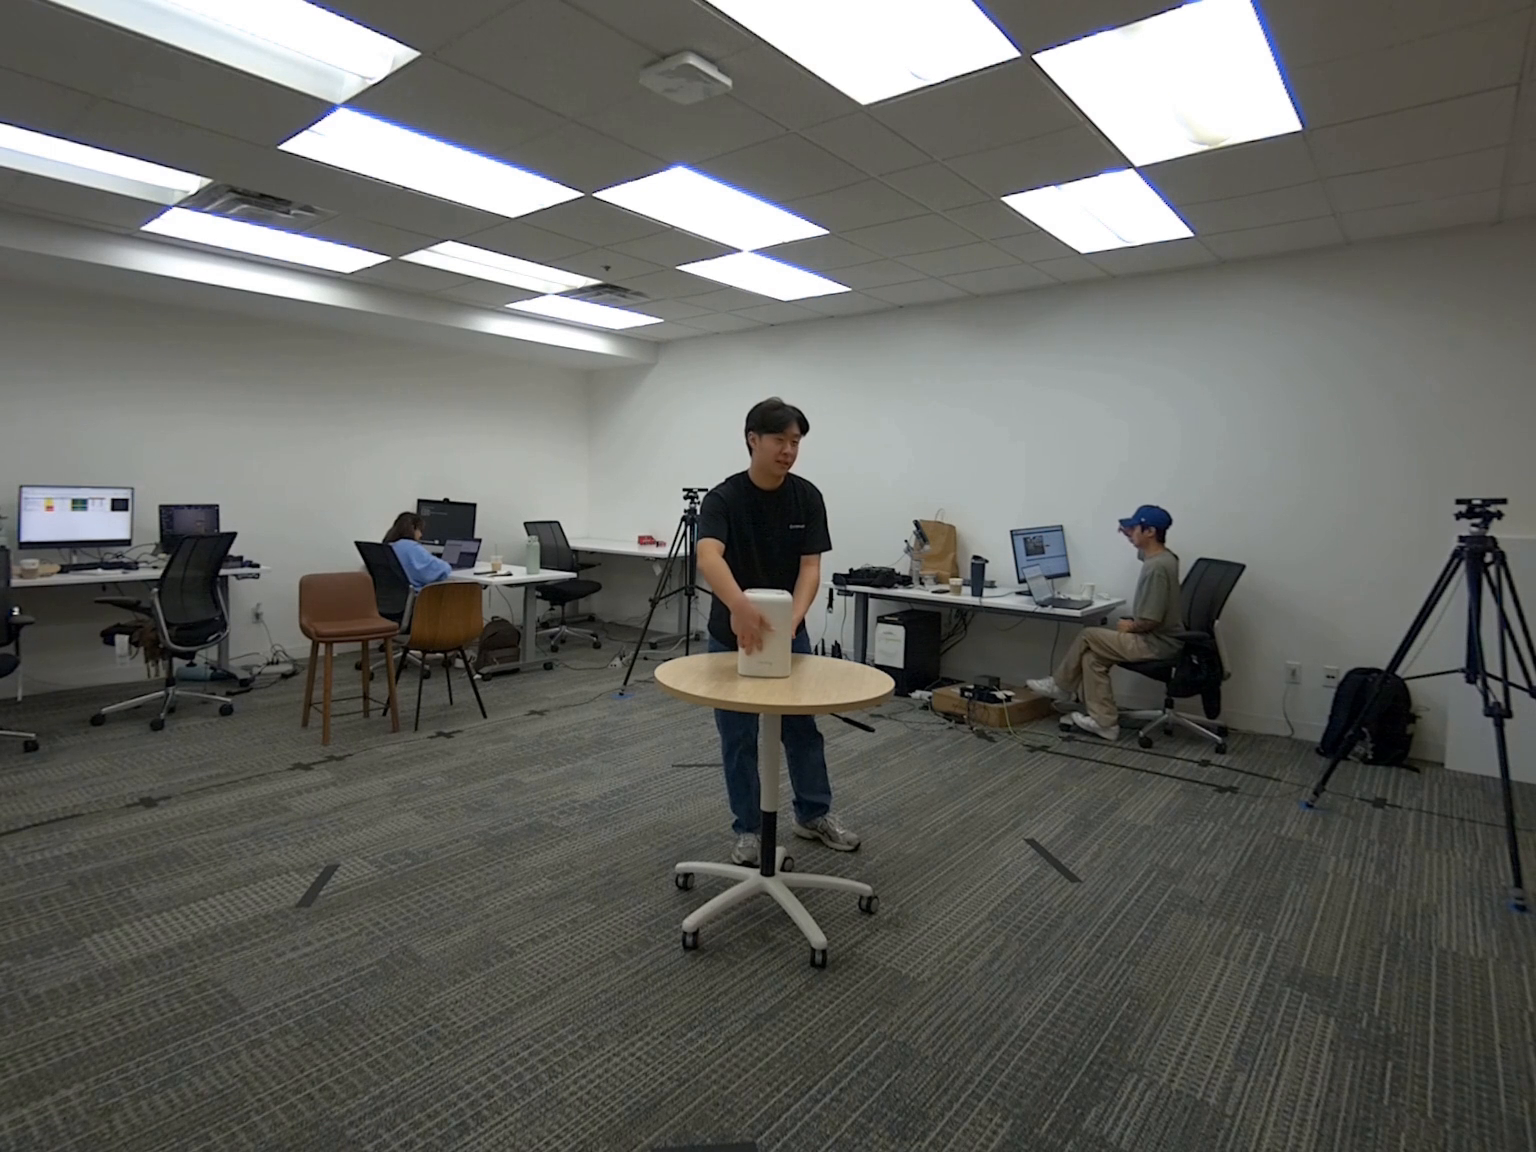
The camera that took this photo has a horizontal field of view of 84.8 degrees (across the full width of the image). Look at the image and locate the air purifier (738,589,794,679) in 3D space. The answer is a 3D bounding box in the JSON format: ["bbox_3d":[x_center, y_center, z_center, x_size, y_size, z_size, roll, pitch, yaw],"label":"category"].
[{"bbox_3d":[-0.018,0.177,2.770,0.172,0.265,0.171,0,3,3],"label":"air purifier"}]
